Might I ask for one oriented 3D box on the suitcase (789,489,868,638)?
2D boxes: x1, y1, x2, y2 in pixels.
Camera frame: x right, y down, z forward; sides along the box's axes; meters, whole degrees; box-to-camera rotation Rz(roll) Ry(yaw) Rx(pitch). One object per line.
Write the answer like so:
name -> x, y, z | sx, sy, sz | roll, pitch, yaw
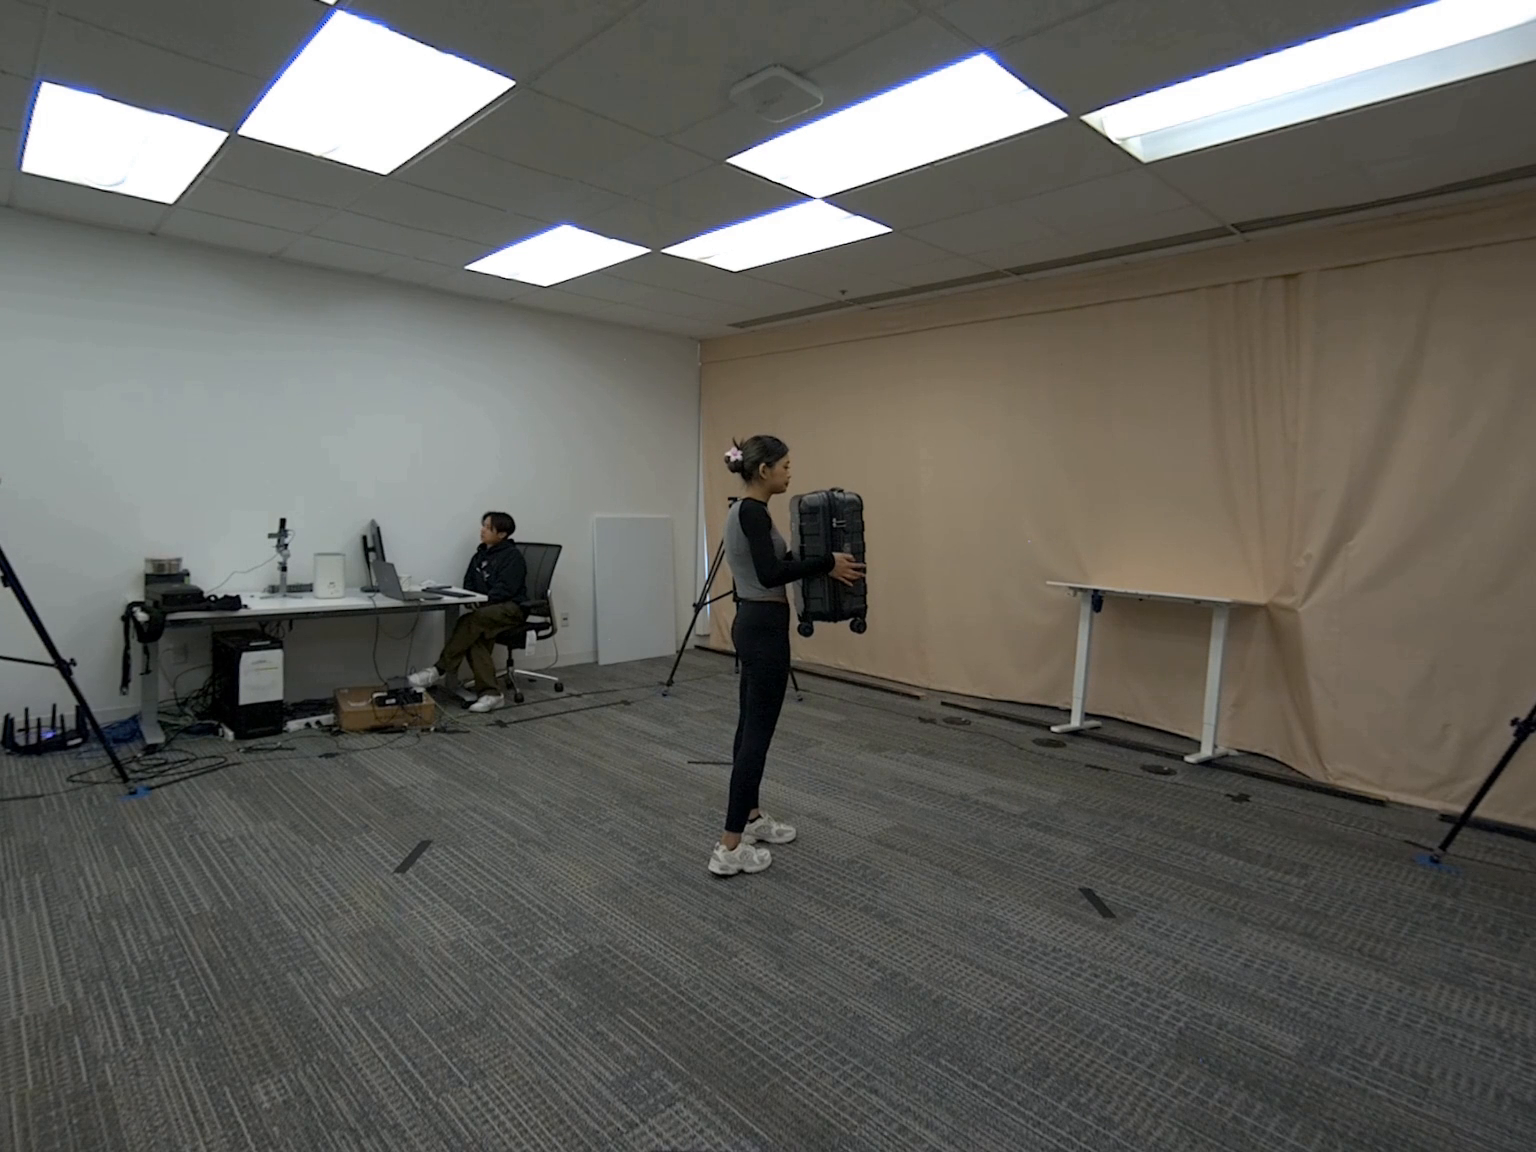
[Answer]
suitcase -> 0.226, -0.073, 3.329 | 0.248, 0.547, 0.378 | -2, 5, -4
